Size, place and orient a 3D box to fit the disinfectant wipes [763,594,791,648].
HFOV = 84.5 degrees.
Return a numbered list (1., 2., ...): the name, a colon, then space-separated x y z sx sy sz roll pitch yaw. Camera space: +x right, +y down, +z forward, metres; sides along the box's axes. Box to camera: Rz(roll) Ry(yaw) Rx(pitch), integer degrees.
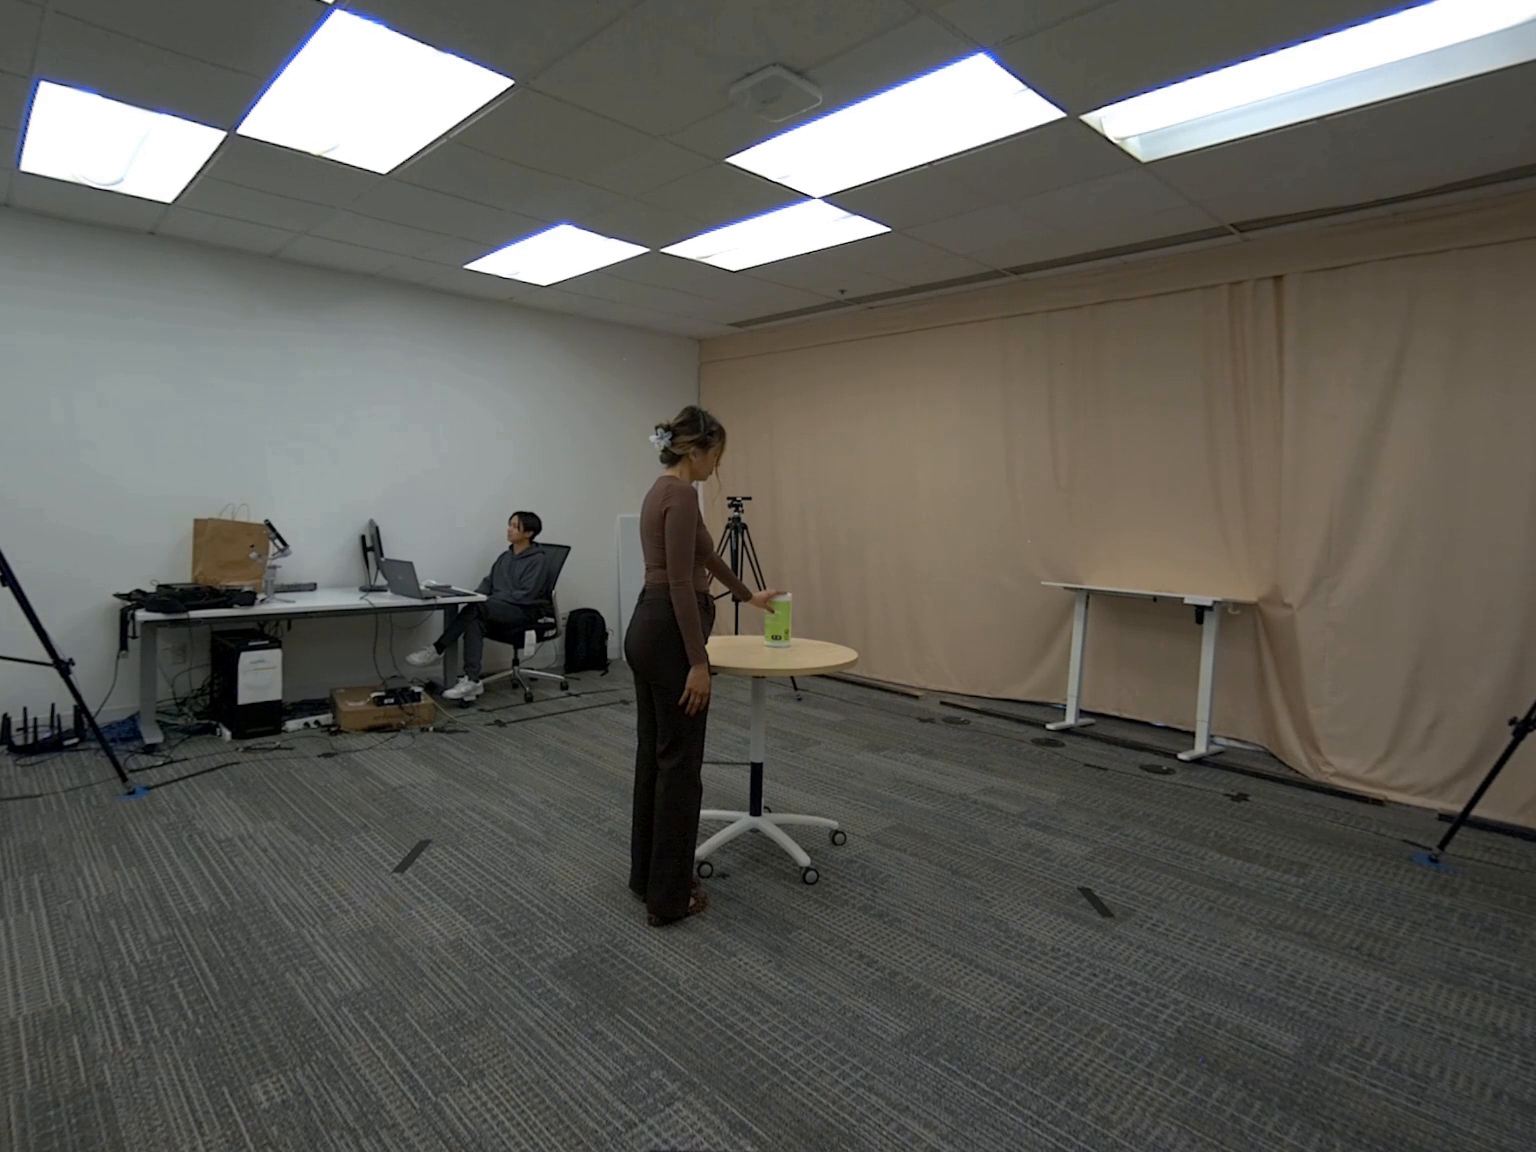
1. disinfectant wipes: 0.036 0.177 3.444 0.118 0.217 0.118 1 4 -1
